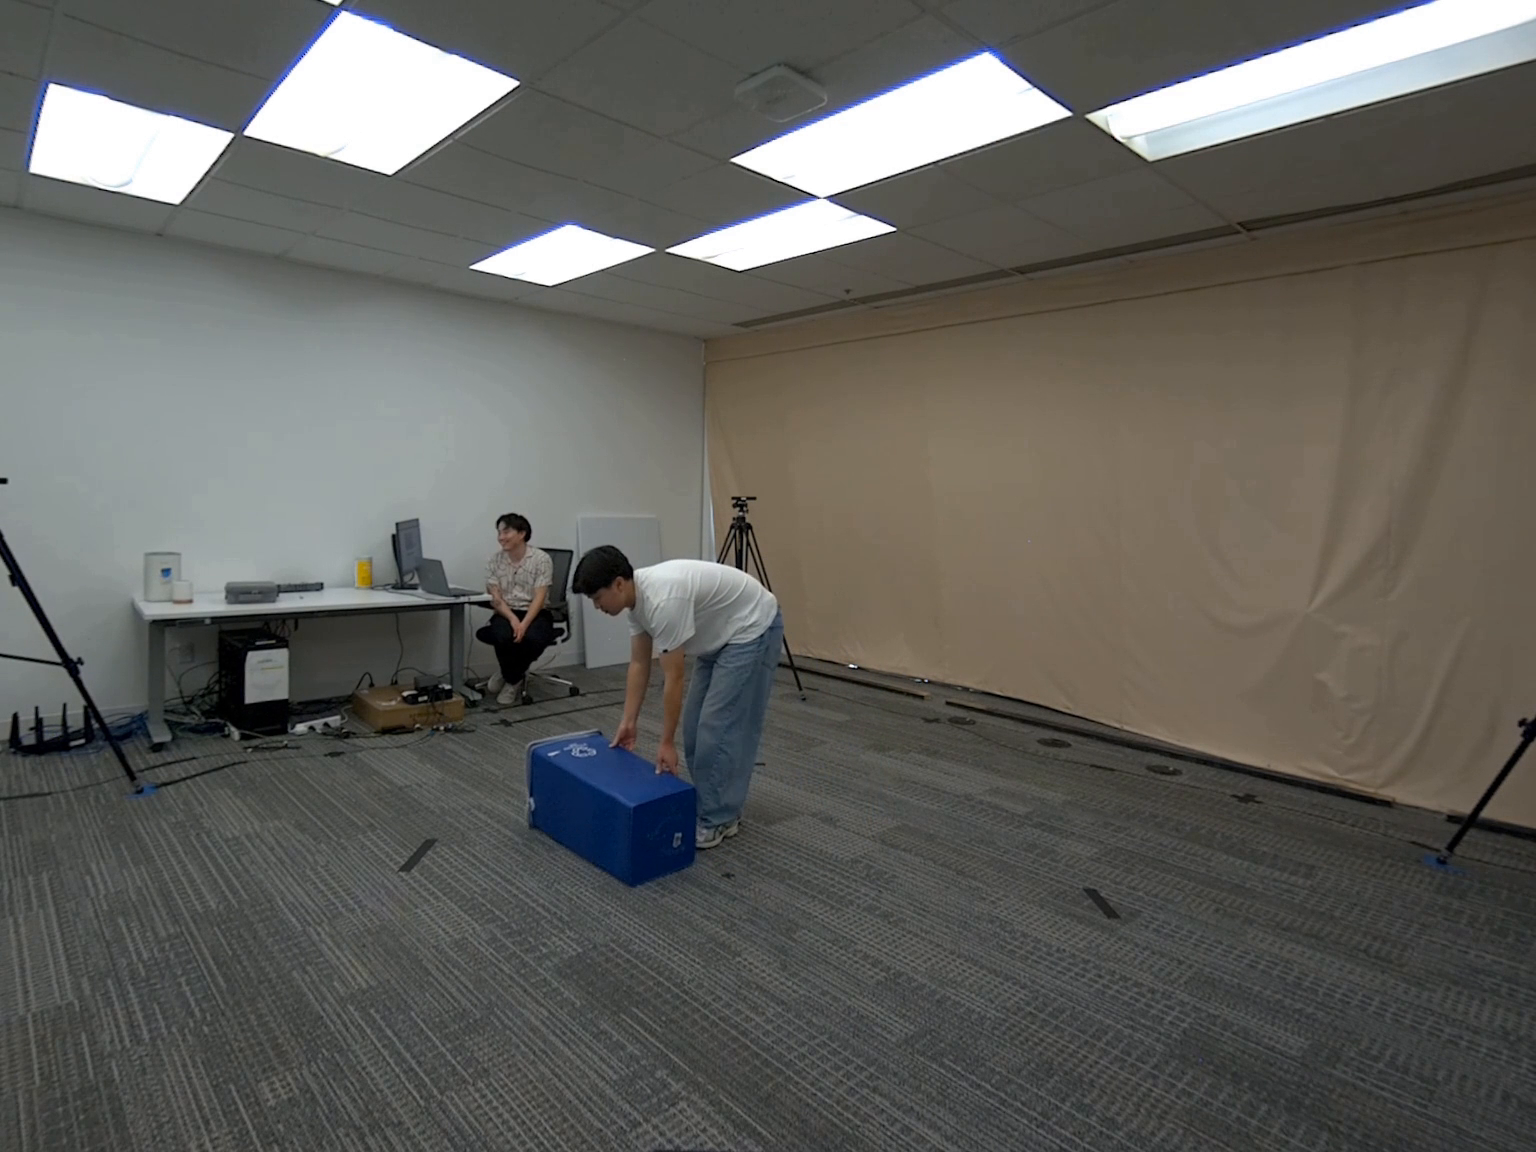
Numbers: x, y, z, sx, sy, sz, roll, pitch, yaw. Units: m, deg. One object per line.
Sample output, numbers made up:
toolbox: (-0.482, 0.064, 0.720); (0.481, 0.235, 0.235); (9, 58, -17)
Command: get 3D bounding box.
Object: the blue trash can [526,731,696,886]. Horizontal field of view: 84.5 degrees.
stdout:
blue trash can: (-0.633, 0.910, 3.329); (0.366, 0.376, 0.733); (-3, 10, -43)
